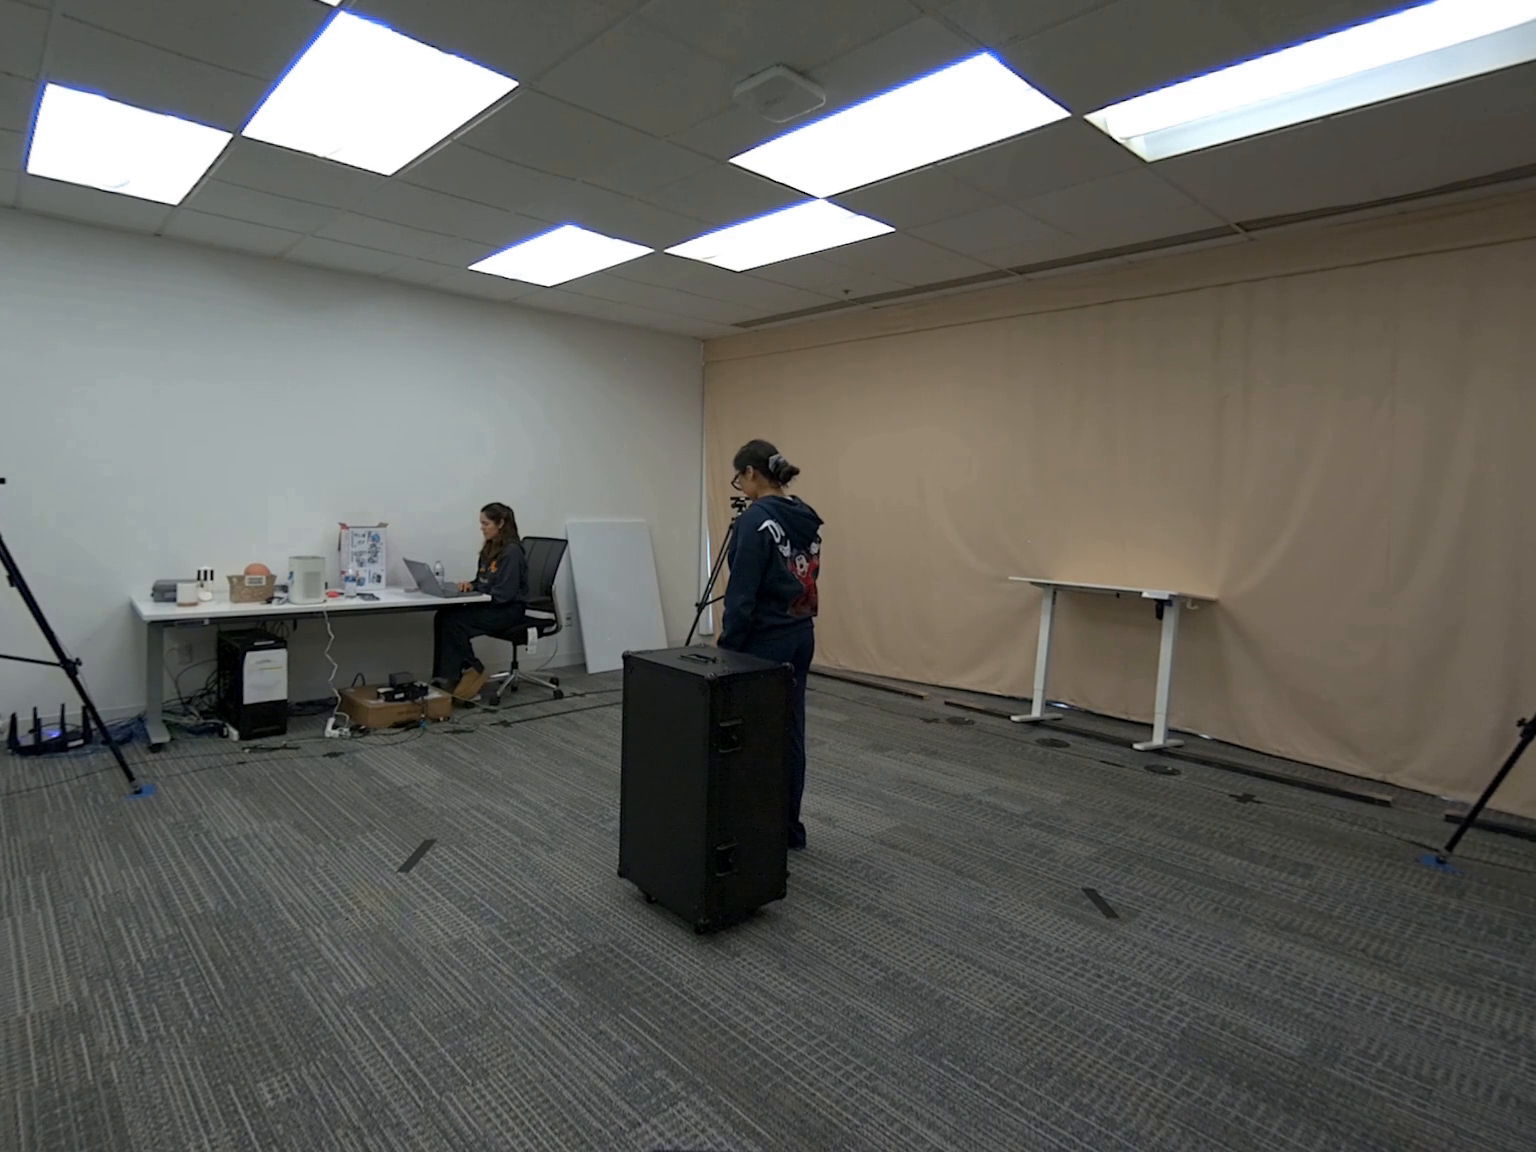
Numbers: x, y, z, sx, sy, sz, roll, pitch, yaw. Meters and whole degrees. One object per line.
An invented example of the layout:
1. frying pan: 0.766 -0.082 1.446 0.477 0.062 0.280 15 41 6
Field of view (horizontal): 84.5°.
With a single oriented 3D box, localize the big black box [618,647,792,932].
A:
1. big black box: -0.219 0.707 2.856 0.387 0.860 0.534 1 3 -43
